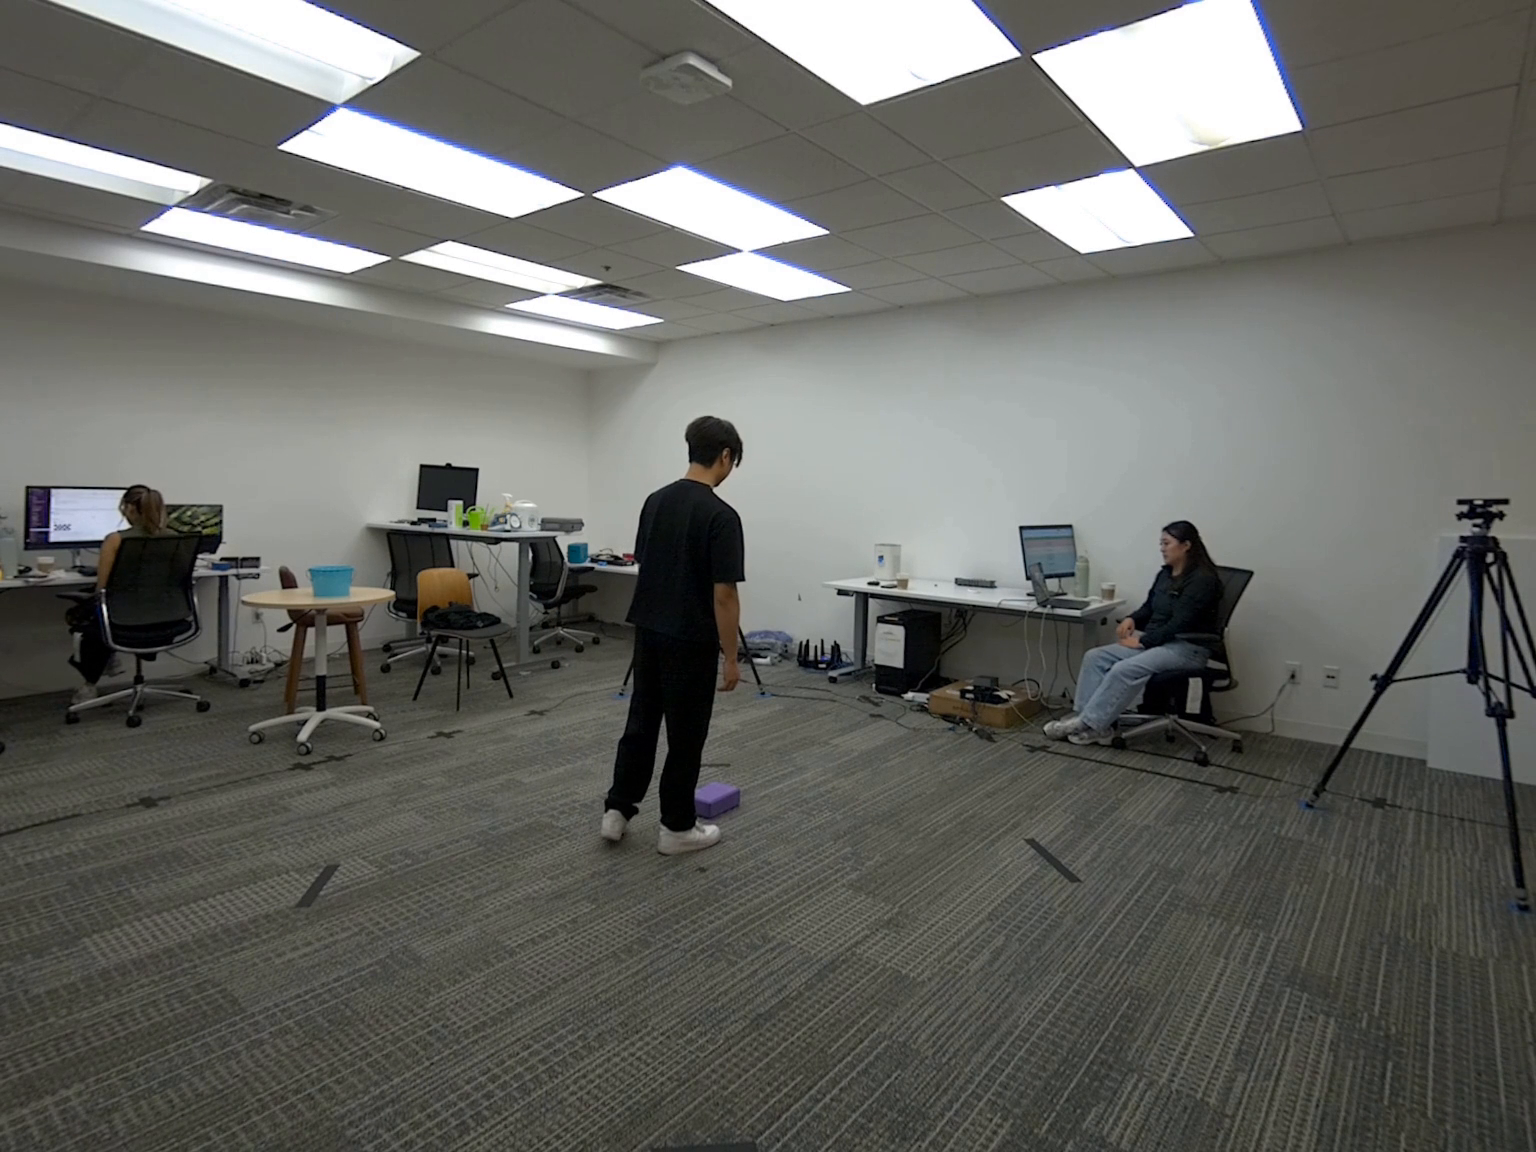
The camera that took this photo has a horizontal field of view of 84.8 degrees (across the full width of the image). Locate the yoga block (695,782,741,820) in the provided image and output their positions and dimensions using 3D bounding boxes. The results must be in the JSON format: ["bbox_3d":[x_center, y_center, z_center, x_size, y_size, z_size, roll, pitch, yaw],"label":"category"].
[{"bbox_3d":[-0.253,0.973,3.708,0.154,0.076,0.223,4,6,34],"label":"yoga block"}]
